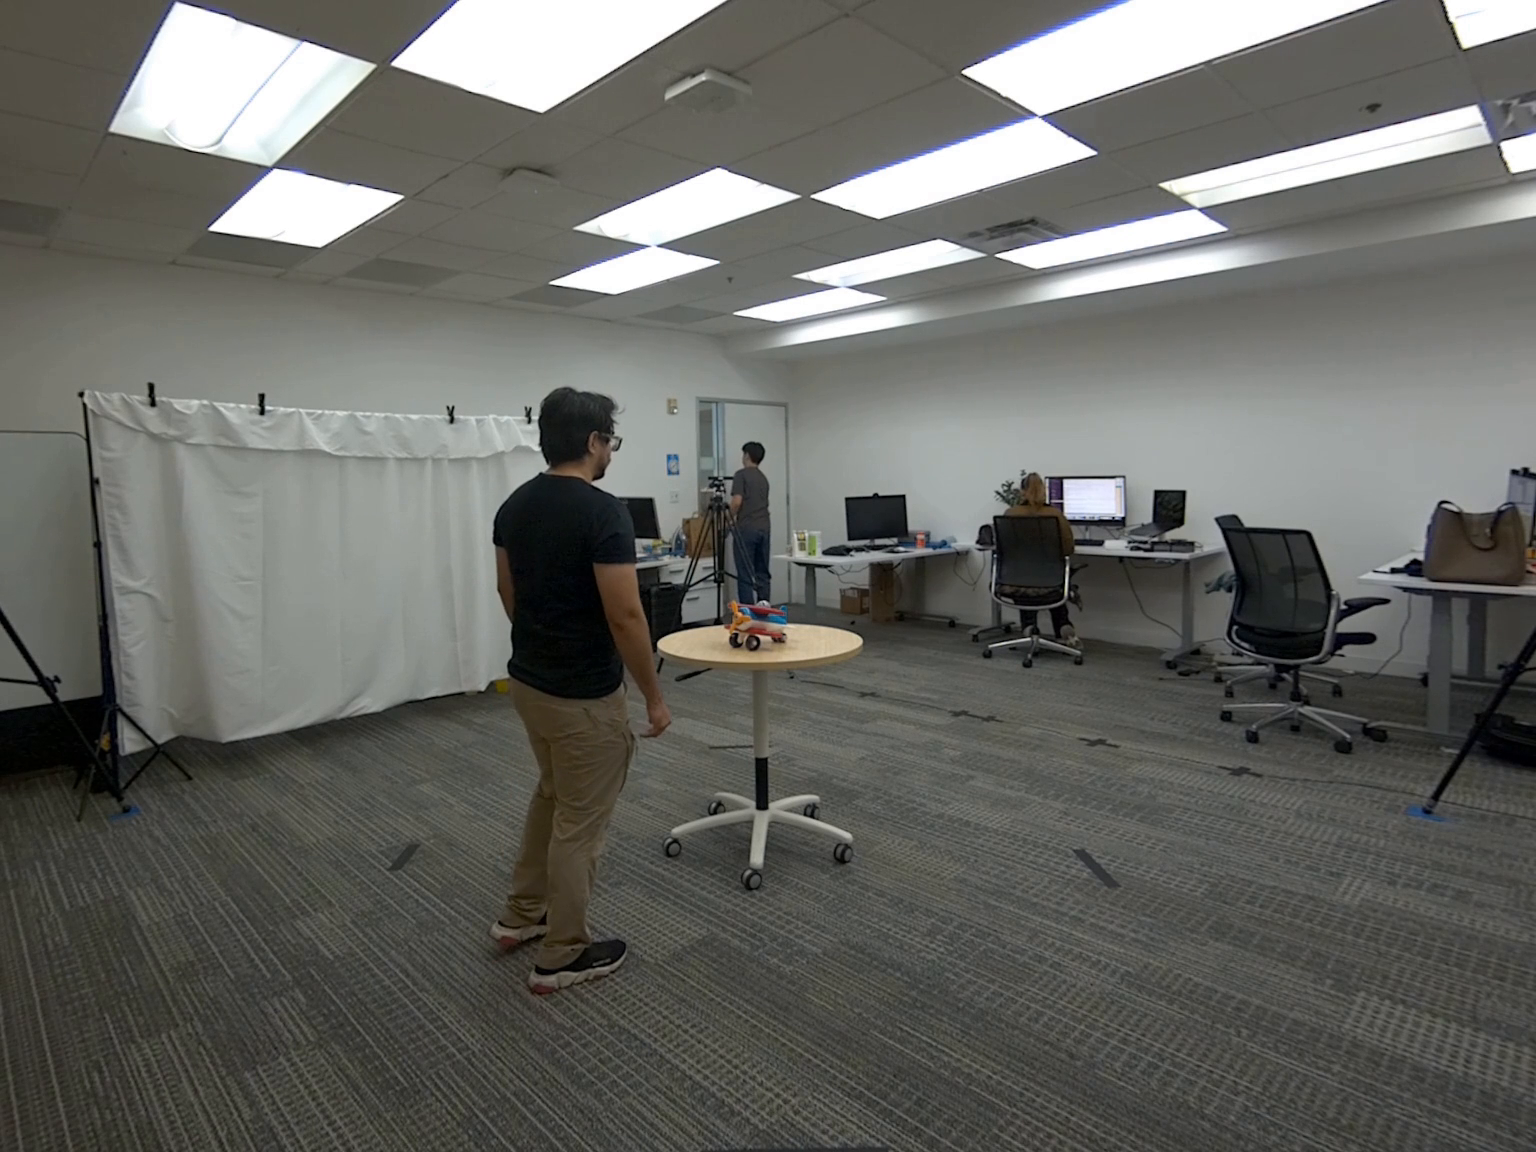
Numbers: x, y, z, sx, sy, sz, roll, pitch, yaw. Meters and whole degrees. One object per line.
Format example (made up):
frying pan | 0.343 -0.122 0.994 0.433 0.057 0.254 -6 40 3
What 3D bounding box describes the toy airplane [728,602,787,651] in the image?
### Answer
toy airplane | -0.045 0.175 3.113 0.256 0.155 0.256 1 8 20
